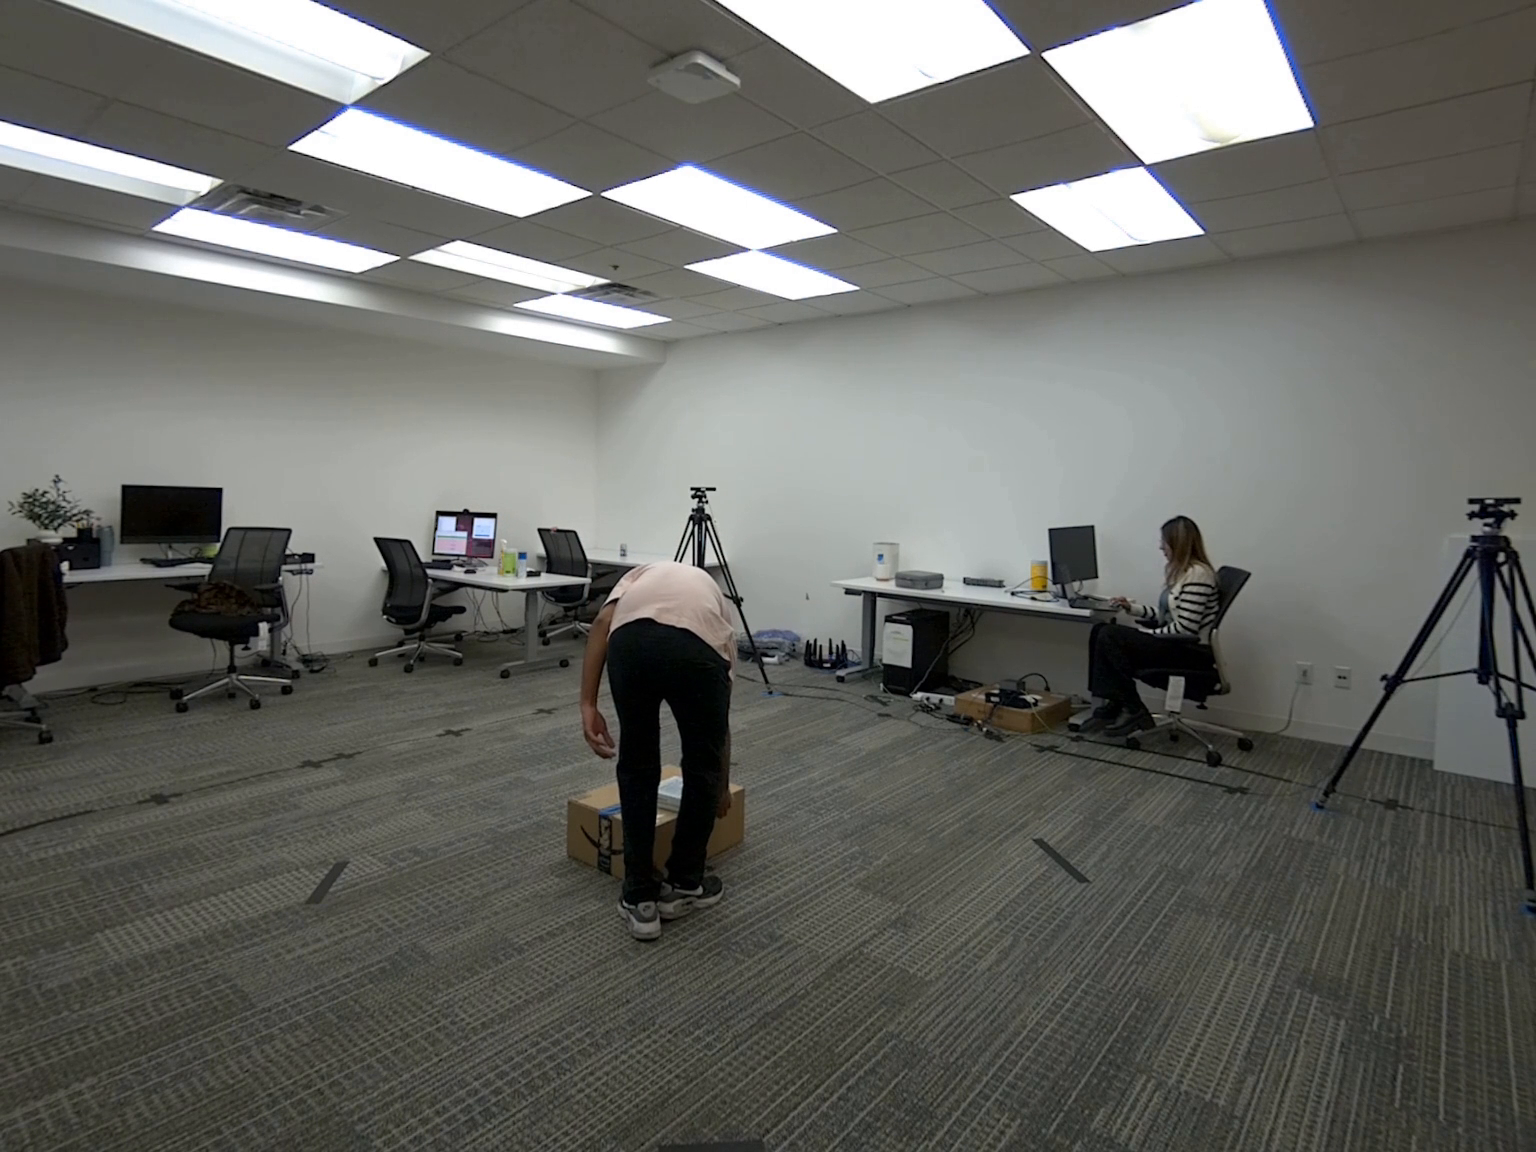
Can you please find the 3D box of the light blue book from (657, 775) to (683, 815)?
[{"bbox_3d":[-0.301,0.817,3.163,0.269,0.059,0.186,2,5,33],"label":"light blue book"}]
